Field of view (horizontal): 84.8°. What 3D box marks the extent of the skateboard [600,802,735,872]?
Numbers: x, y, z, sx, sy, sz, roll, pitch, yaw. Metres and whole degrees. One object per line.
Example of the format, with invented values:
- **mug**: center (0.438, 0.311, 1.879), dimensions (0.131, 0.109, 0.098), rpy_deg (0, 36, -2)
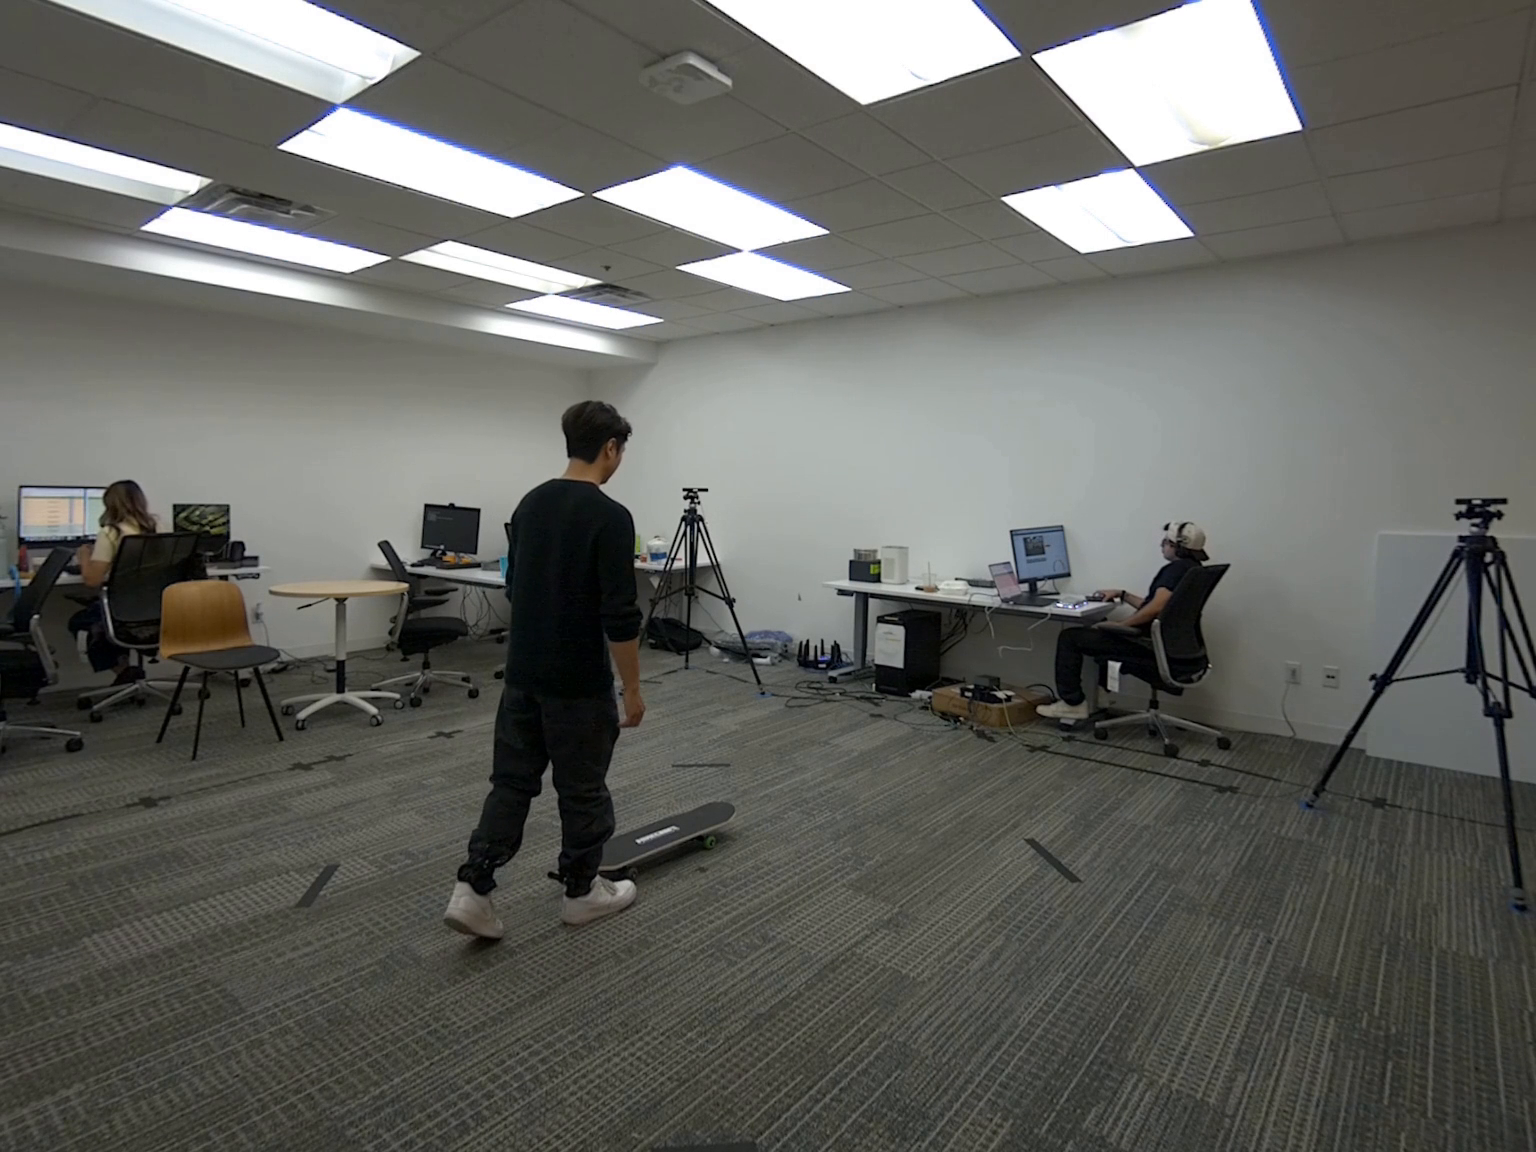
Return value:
- **skateboard**: center (-0.419, 1.004, 3.203), dimensions (0.200, 0.110, 0.762), rpy_deg (6, 8, 42)
